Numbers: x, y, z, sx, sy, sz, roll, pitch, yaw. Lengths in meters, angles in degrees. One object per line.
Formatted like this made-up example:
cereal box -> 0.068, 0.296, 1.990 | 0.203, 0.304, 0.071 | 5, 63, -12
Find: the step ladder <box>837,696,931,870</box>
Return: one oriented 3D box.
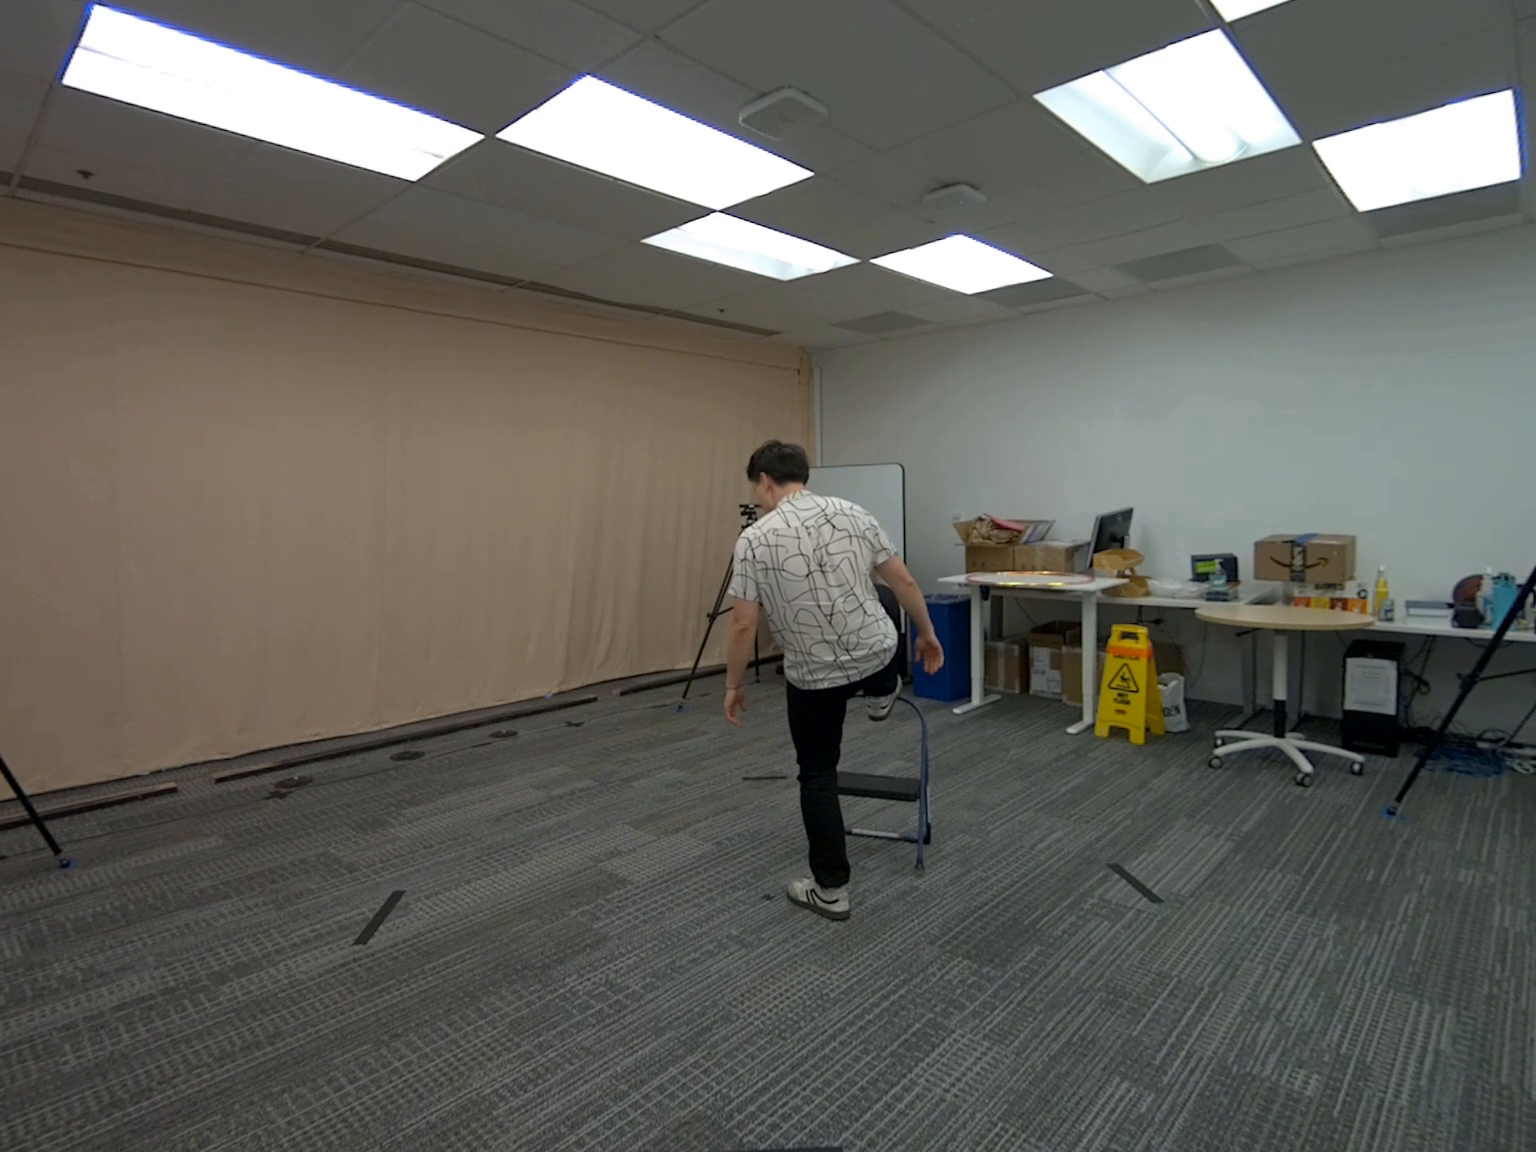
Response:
step ladder -> 0.432, 0.784, 3.364 | 0.439, 0.607, 0.342 | 1, -2, 18
